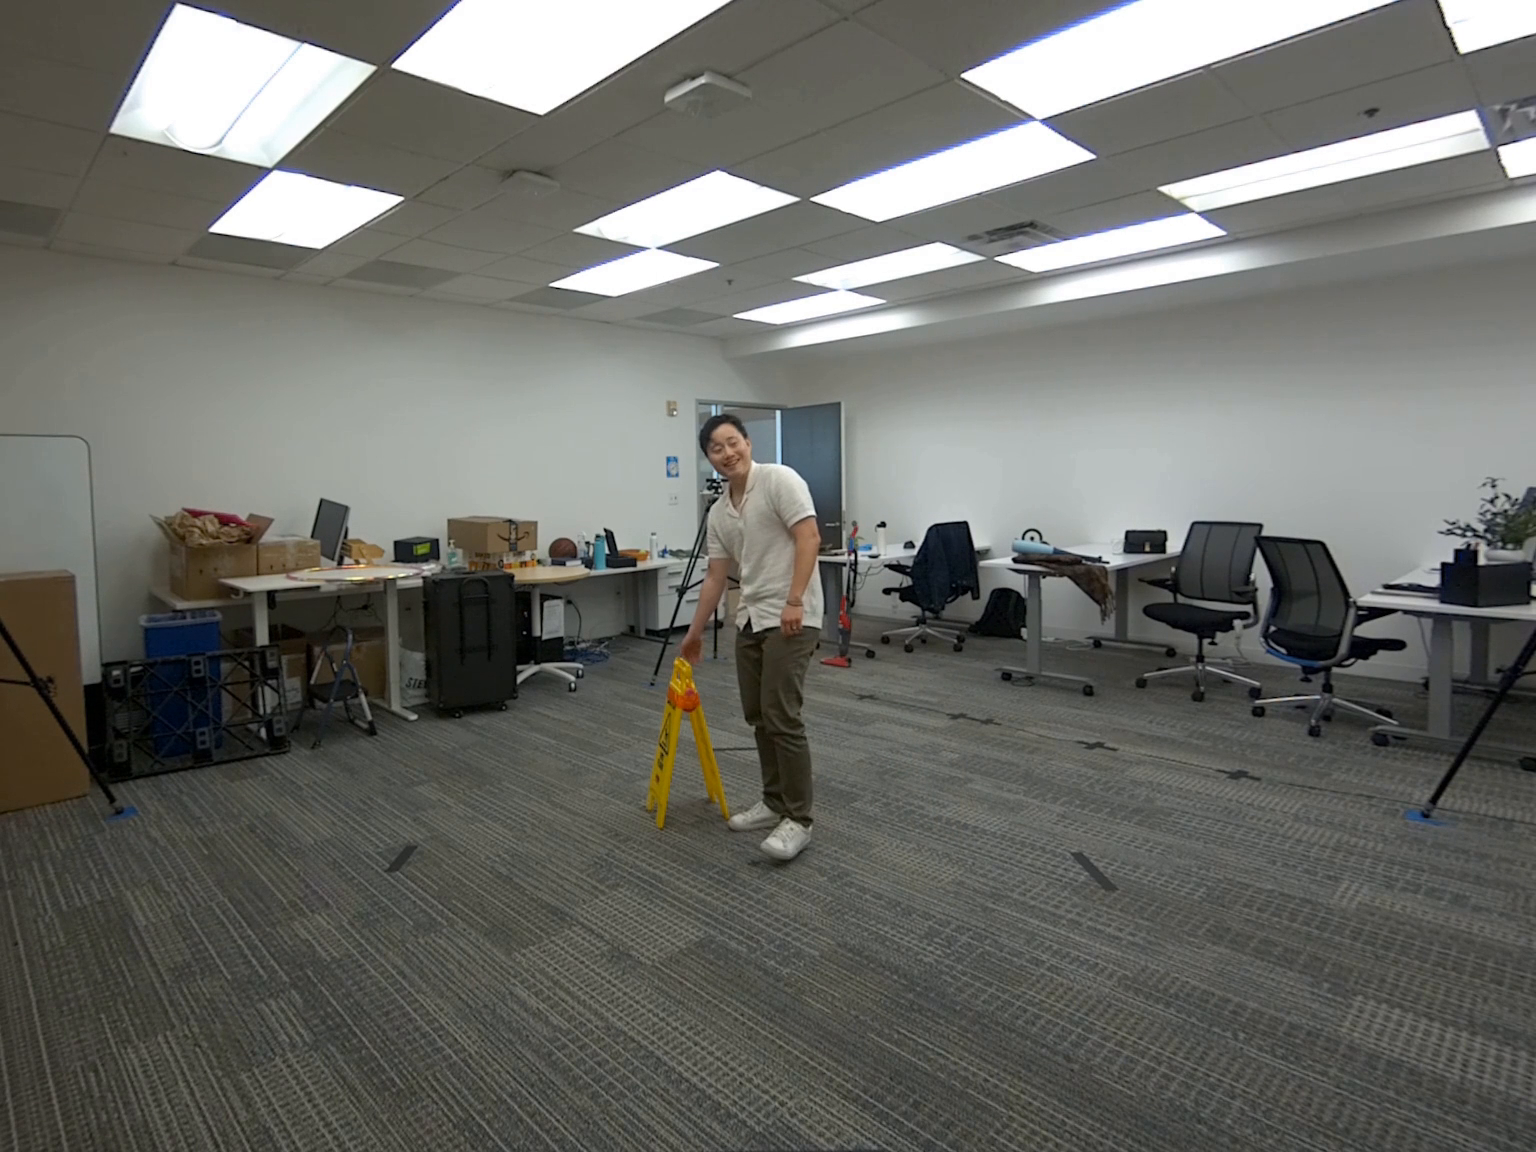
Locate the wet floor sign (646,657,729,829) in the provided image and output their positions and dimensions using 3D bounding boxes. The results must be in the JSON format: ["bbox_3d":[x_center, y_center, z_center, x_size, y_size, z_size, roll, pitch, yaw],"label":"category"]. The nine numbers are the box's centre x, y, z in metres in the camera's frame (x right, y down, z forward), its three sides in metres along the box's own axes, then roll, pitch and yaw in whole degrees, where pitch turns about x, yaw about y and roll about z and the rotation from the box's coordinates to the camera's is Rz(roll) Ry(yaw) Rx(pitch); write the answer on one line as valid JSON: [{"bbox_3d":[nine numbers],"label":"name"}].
[{"bbox_3d":[-0.352,0.674,3.574,0.285,0.644,0.288,-3,3,-19],"label":"wet floor sign"}]
